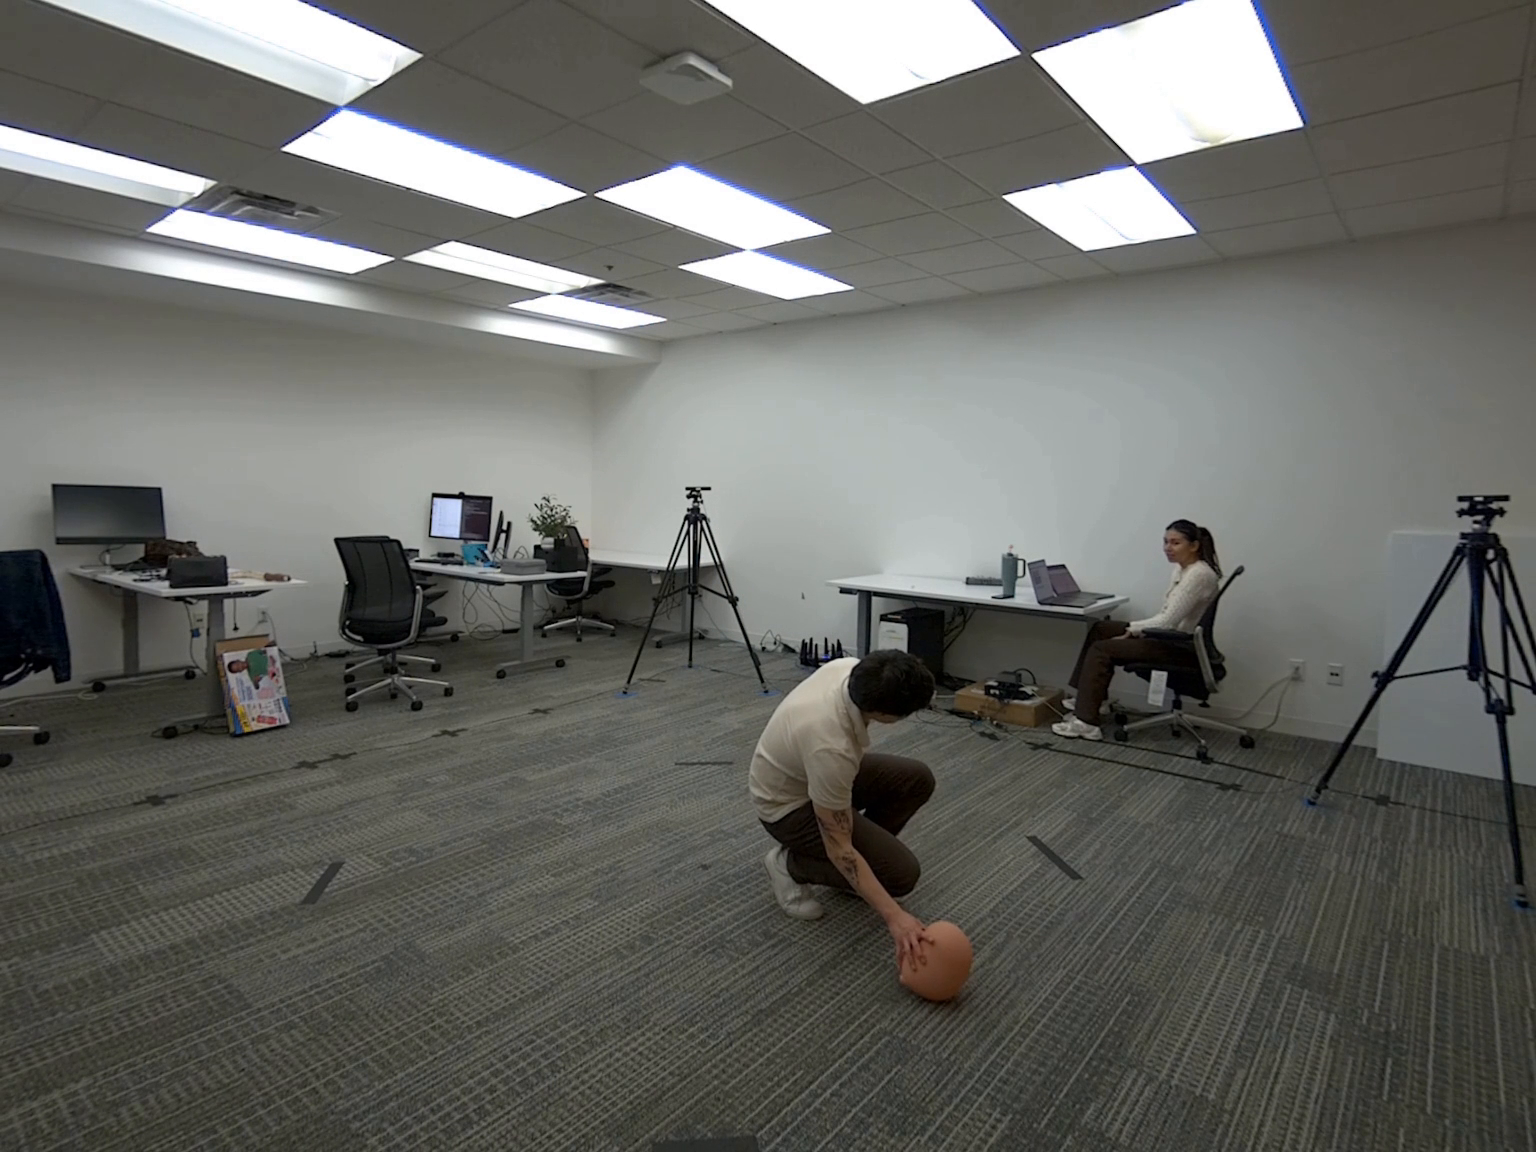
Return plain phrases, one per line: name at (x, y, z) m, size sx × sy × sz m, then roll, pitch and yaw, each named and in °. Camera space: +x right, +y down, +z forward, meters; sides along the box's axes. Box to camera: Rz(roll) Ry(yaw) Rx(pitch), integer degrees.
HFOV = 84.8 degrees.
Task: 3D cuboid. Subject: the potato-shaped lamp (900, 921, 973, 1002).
potato-shaped lamp at (0.475, 1.051, 2.355) m, size 0.169 × 0.197 × 0.168 m, roll 20°, pitch 15°, yaw -12°
